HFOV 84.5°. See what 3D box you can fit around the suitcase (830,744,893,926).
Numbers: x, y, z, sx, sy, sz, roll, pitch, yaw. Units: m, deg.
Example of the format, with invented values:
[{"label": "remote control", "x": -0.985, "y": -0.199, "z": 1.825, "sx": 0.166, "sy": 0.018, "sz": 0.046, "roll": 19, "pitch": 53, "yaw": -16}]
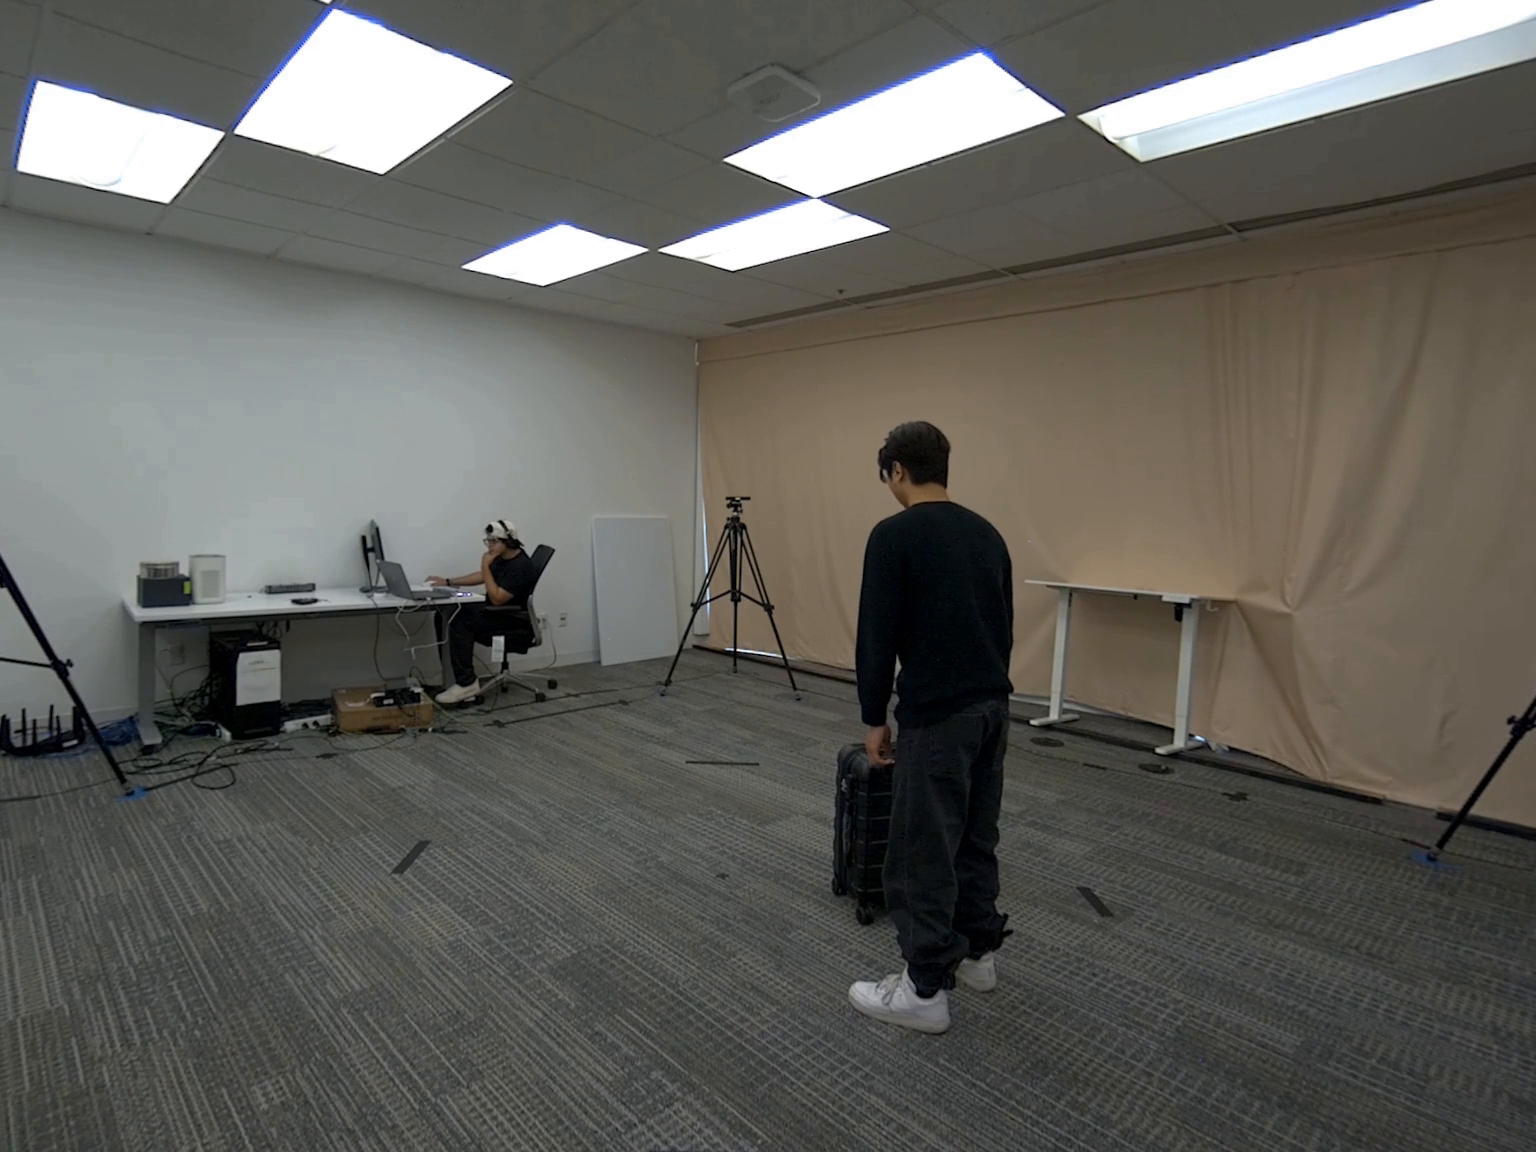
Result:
[{"label": "suitcase", "x": 0.418, "y": 0.860, "z": 2.922, "sx": 0.371, "sy": 0.549, "sz": 0.251, "roll": 1, "pitch": 1, "yaw": -16}]
